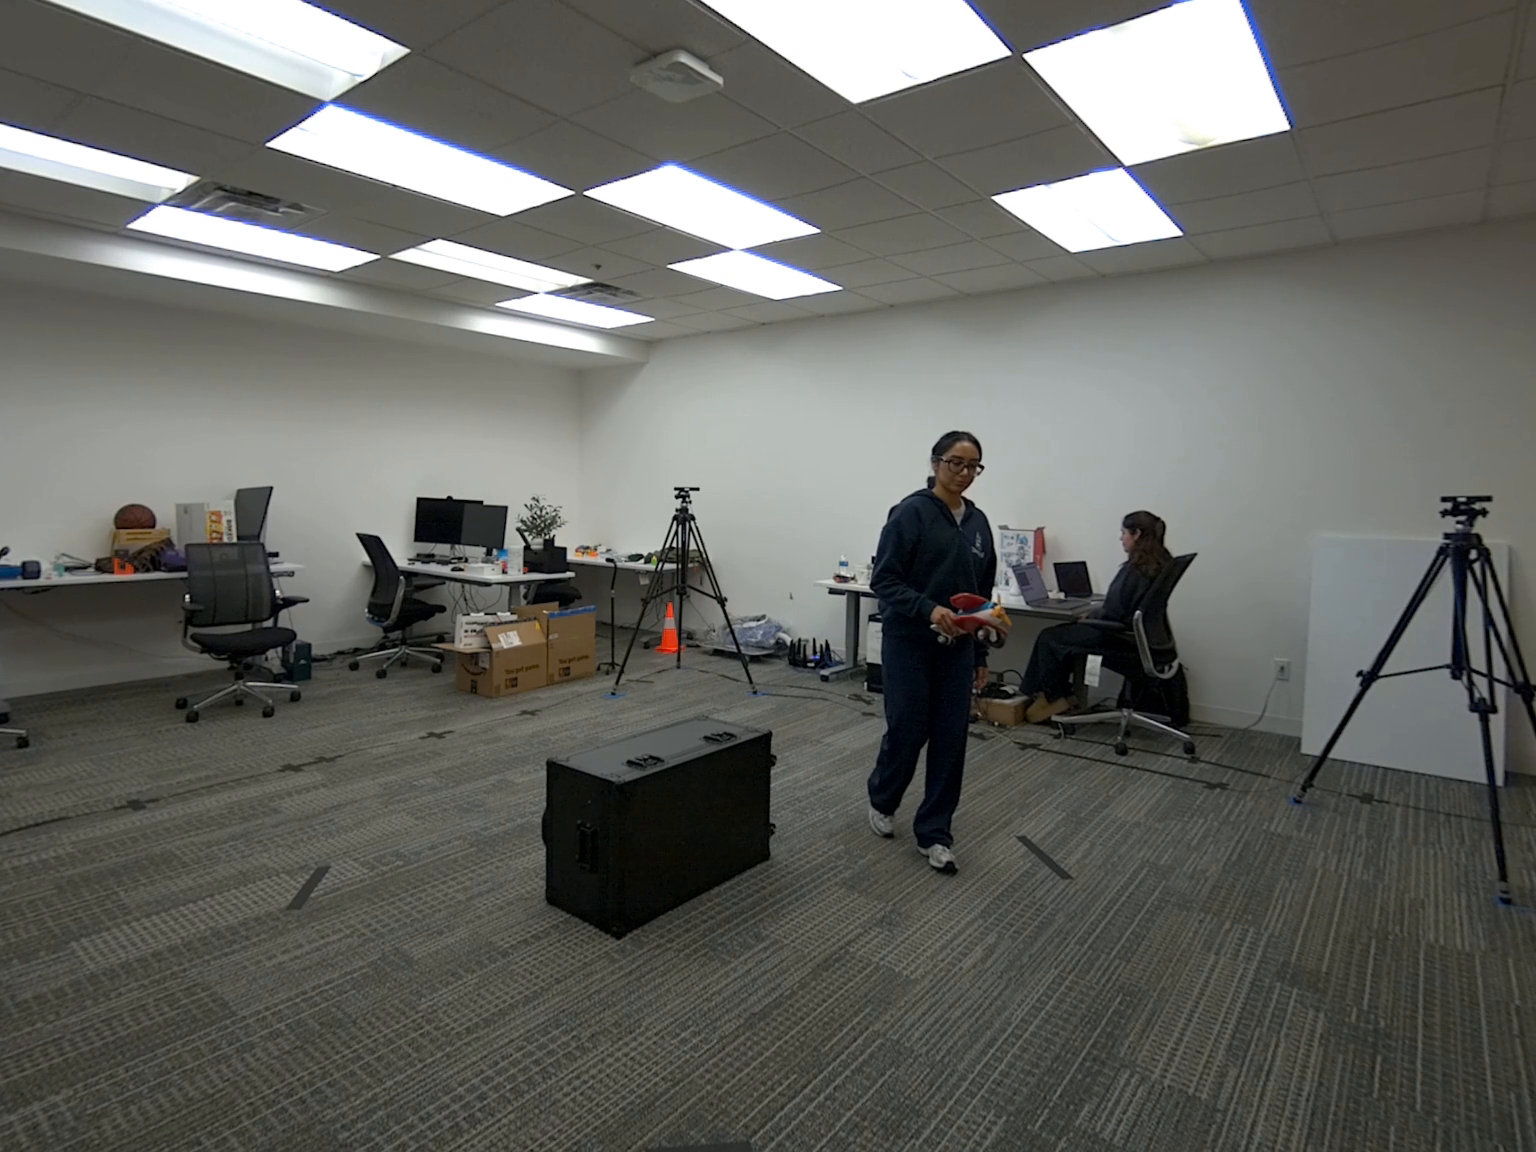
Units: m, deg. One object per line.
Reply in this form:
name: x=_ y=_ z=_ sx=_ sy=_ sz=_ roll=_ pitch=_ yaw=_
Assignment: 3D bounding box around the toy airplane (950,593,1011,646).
toy airplane: x=0.679 y=0.151 z=2.951 sx=0.266 sy=0.158 sz=0.241 roll=4 pitch=-18 yaw=25
